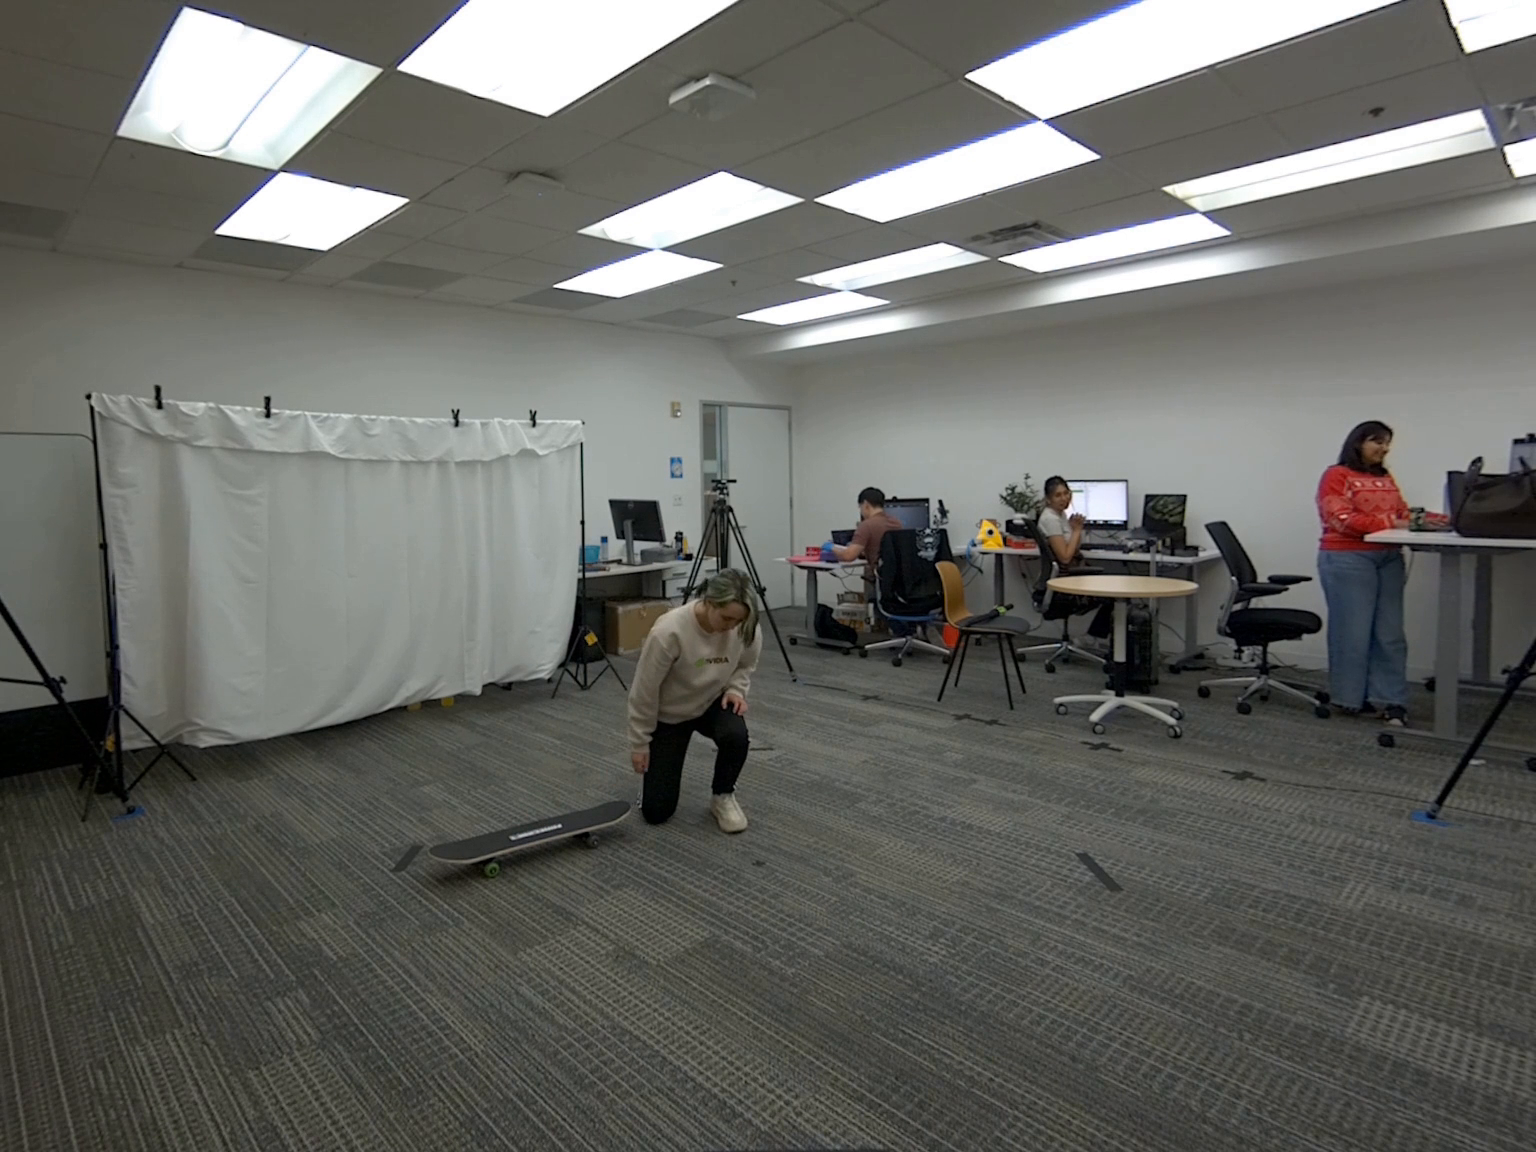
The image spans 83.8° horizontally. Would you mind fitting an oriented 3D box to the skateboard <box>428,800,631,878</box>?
[{"bbox_3d":[-0.876,0.998,3.227,0.766,0.110,0.199,-6,7,-34],"label":"skateboard"}]
